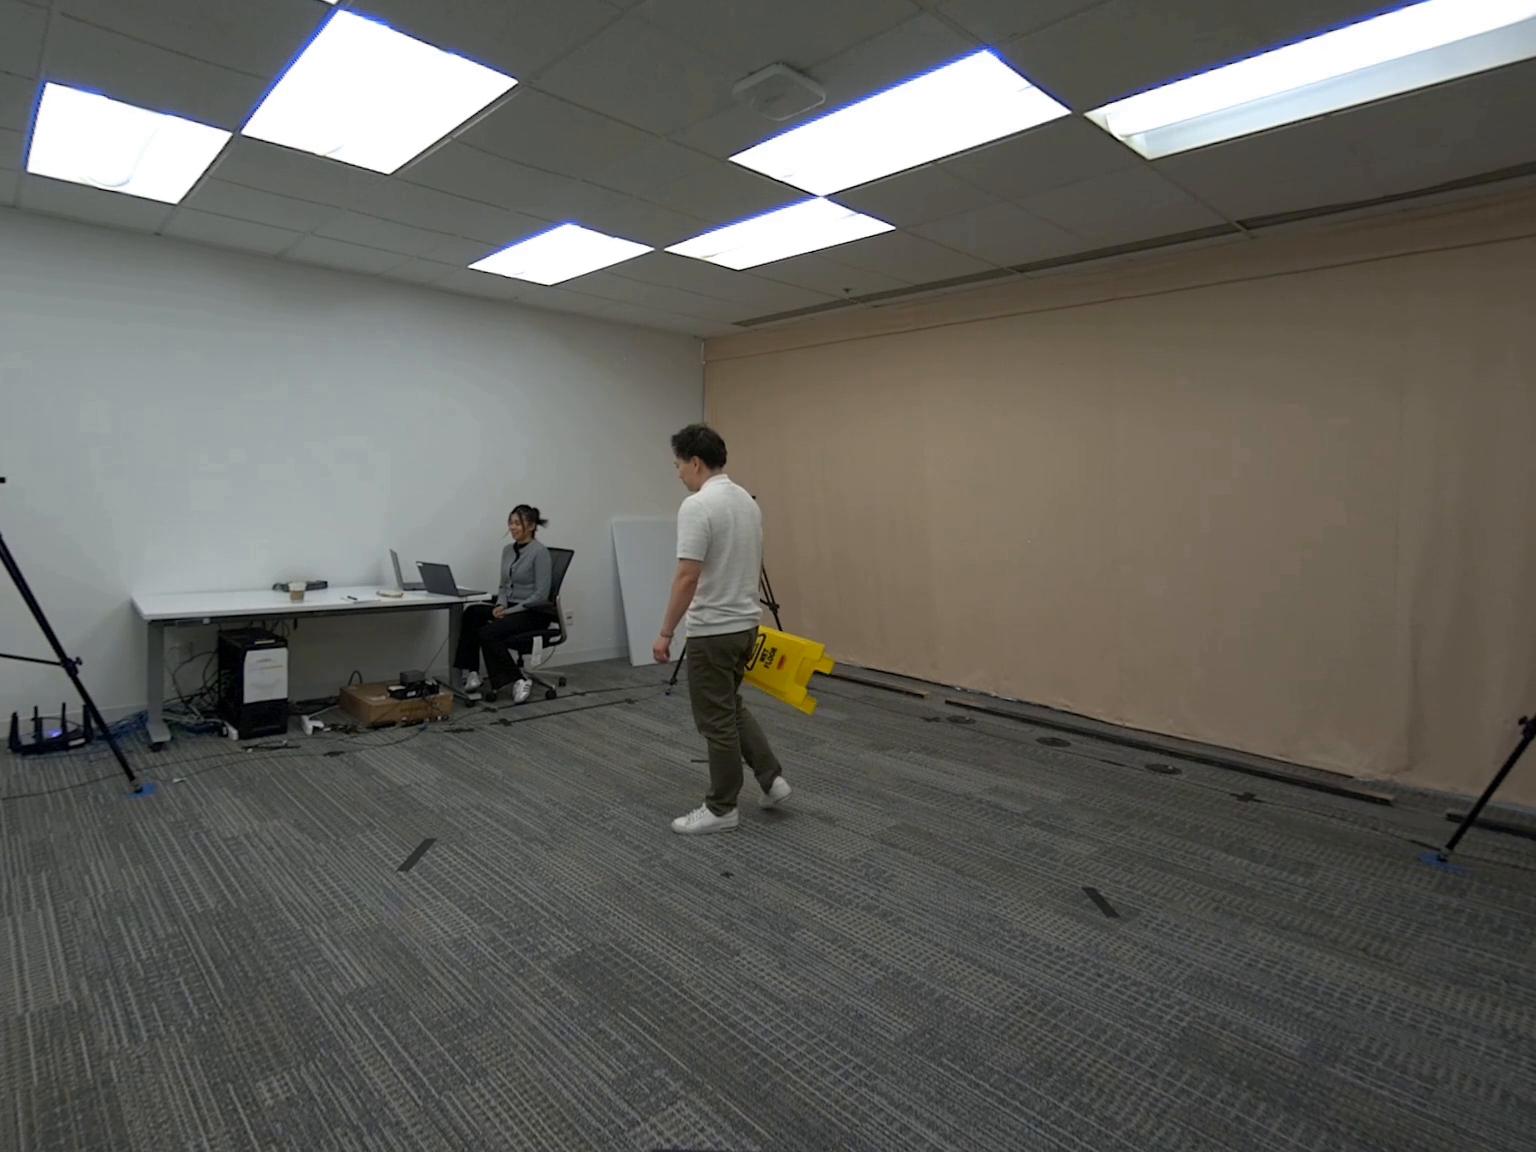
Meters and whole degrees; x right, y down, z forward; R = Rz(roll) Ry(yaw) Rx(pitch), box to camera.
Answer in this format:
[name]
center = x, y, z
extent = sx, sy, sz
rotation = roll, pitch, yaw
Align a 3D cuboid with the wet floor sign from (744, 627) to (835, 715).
[wet floor sign]
center = -0.065, 0.360, 3.855
extent = 0.659, 0.283, 0.283
rotation = 21, -11, 20
